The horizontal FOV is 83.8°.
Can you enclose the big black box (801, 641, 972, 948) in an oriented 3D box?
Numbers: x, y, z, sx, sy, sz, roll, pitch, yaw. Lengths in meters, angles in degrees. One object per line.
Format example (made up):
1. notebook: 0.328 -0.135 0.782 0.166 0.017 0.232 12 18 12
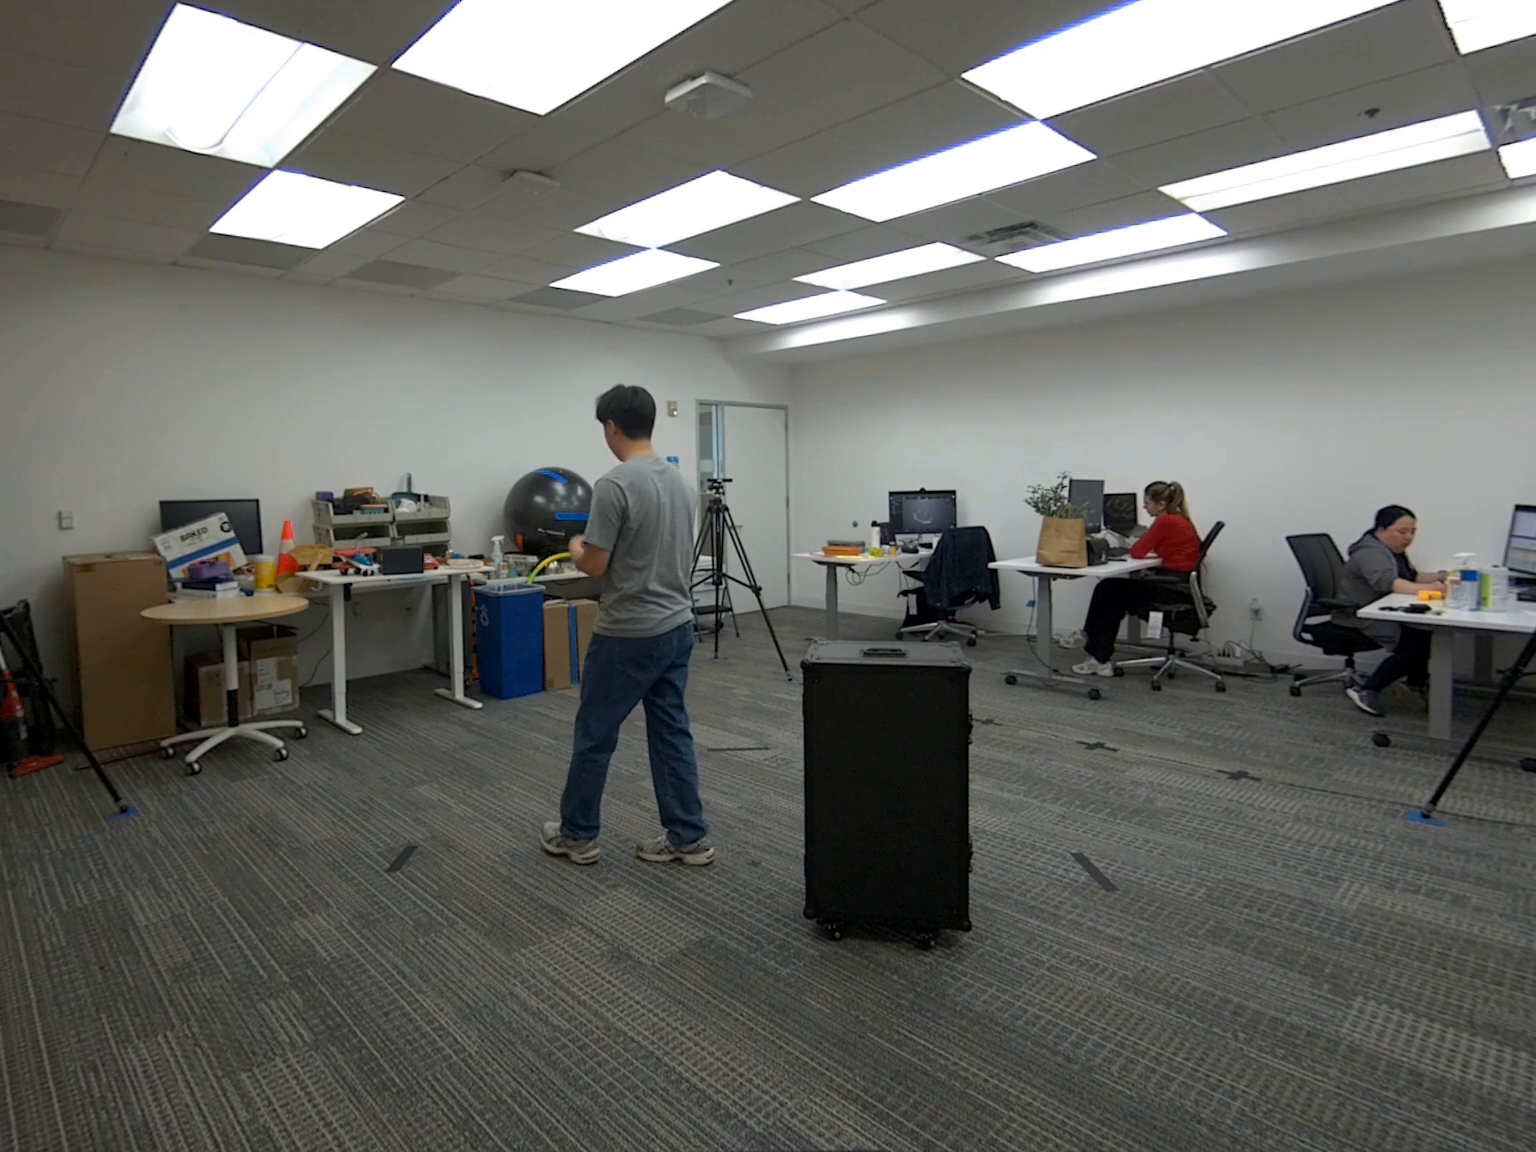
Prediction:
1. big black box: 0.370 0.663 2.684 0.527 0.859 0.393 0 3 11
